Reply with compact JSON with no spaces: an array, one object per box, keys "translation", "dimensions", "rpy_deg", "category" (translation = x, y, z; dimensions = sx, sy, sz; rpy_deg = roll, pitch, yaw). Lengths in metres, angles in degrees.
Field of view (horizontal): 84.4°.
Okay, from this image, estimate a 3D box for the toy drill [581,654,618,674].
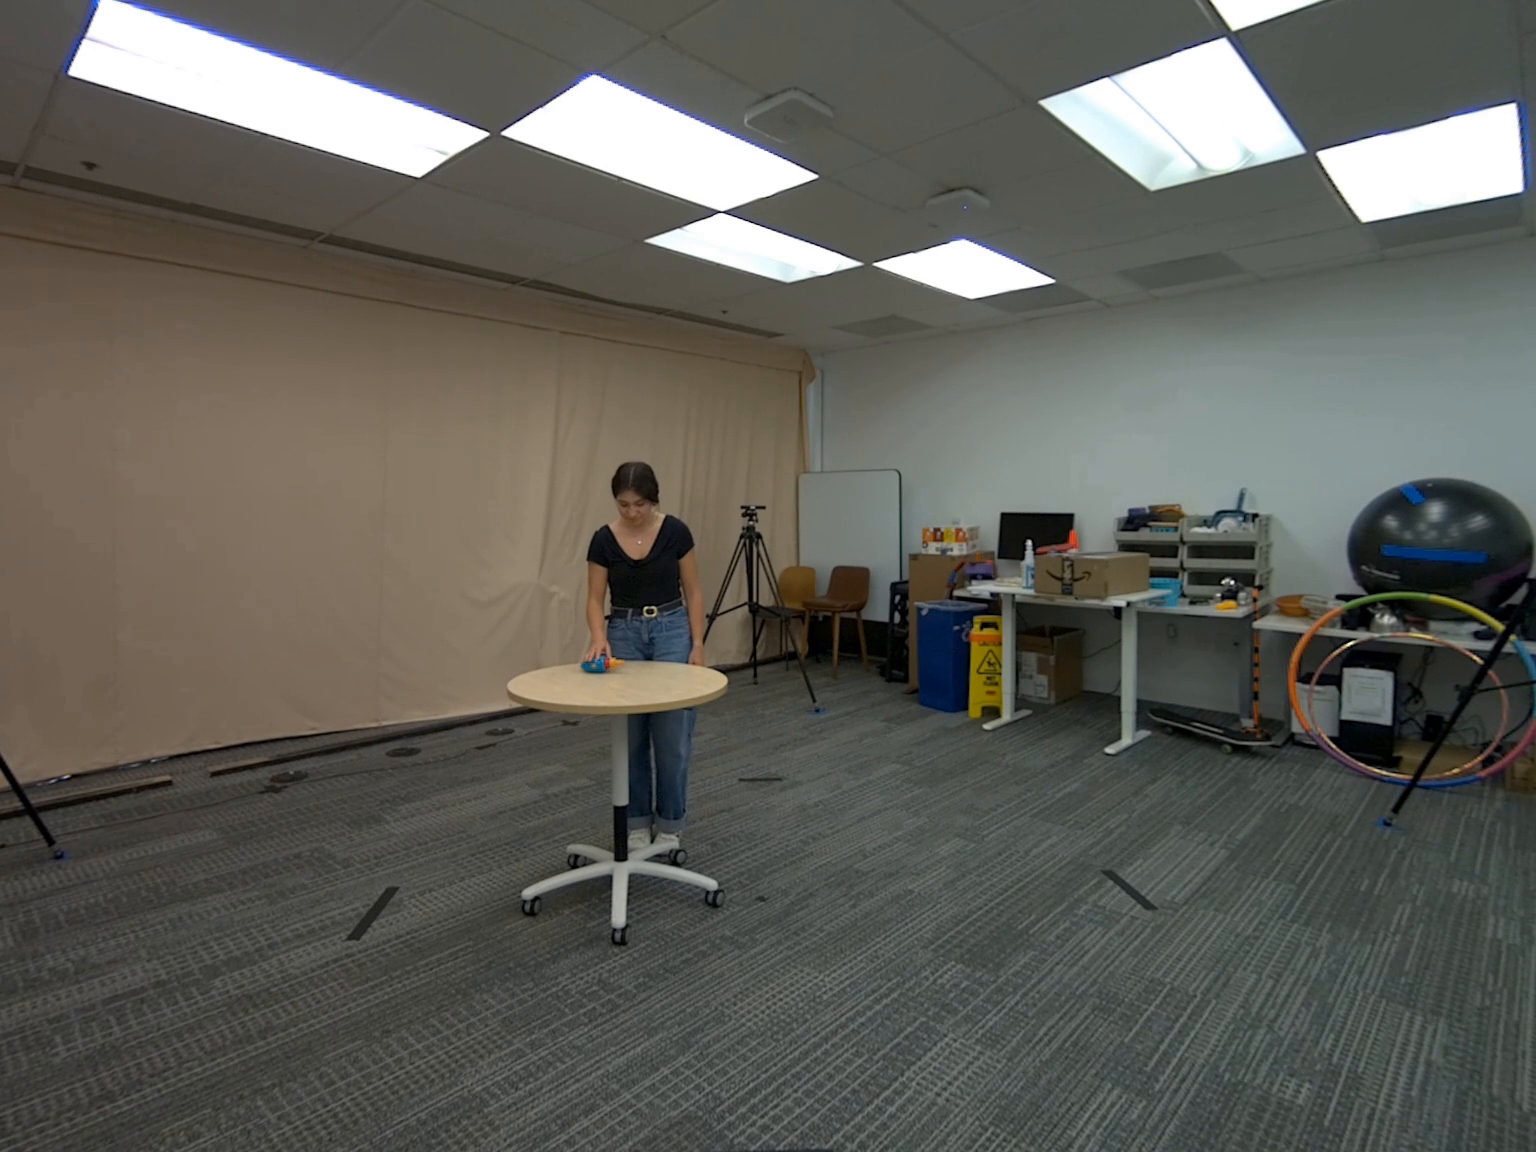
[{"translation":[-0.614,0.323,3.143],"dimensions":[0.170,0.061,0.146],"rpy_deg":[-8,2,2],"category":"toy drill"}]
